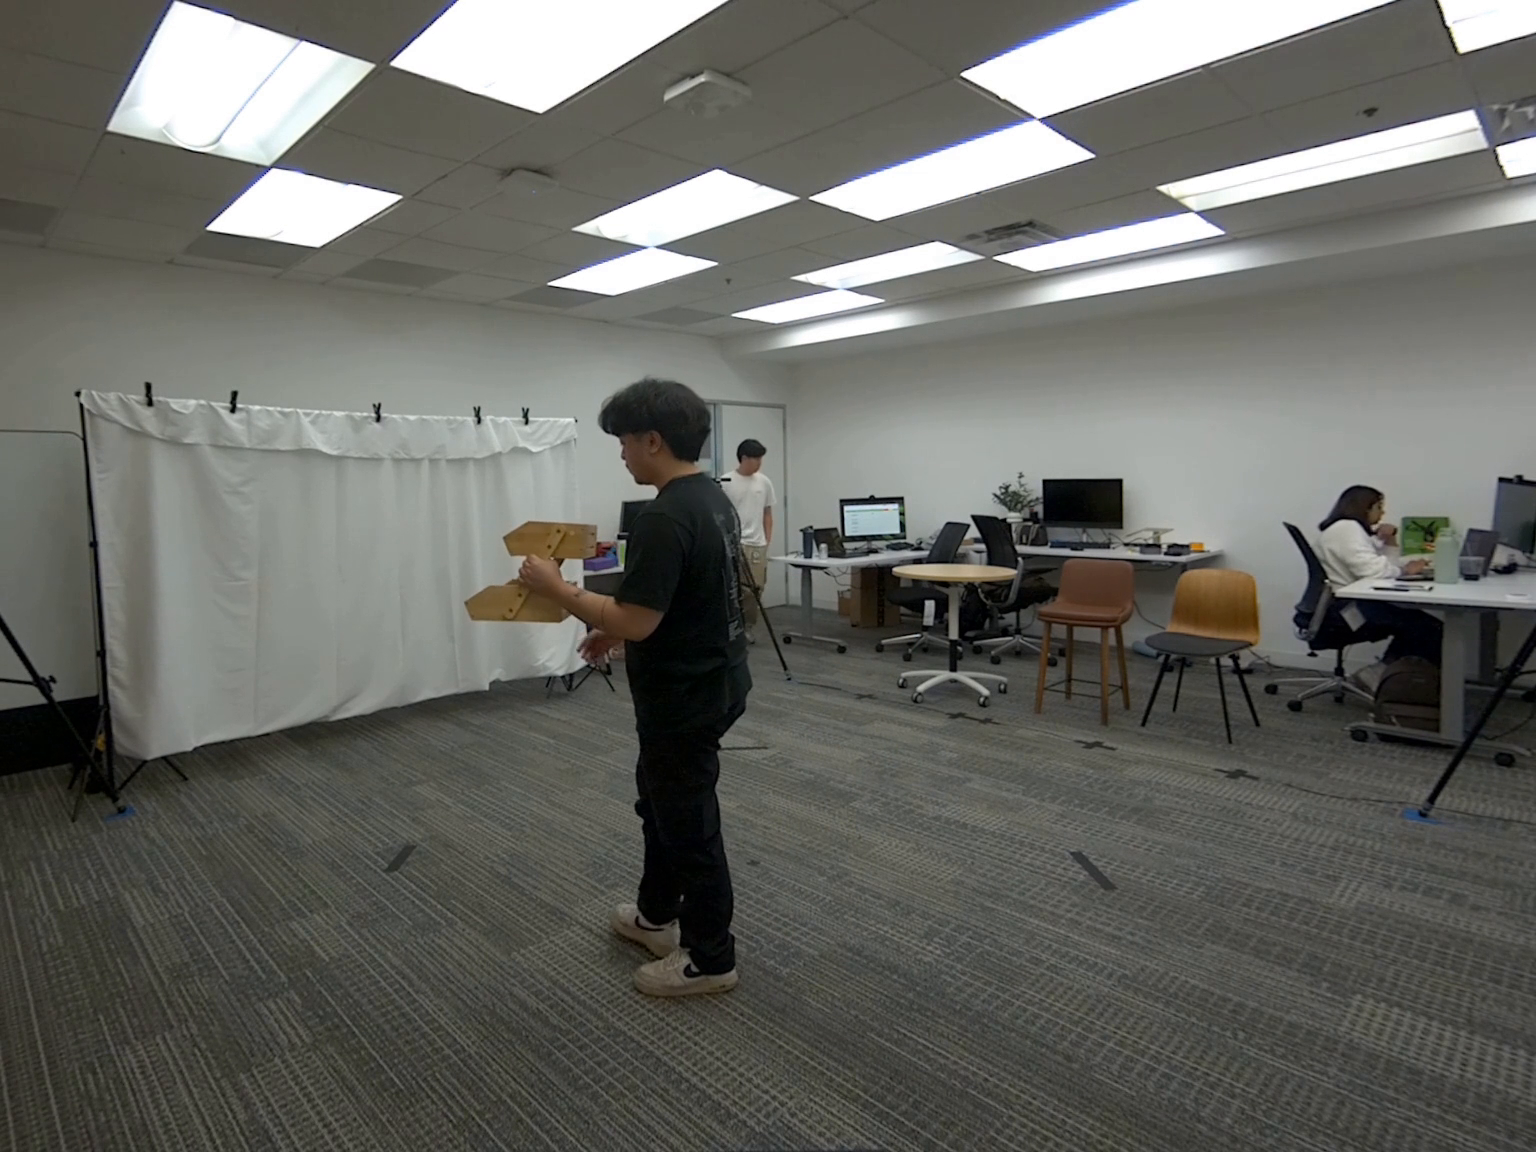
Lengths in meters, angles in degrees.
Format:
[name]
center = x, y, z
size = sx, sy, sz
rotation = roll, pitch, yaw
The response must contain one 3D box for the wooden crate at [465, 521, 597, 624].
[wooden crate]
center = -0.642, -0.025, 2.342
size = 0.300, 0.273, 0.327
rotation = 3, 2, -6
